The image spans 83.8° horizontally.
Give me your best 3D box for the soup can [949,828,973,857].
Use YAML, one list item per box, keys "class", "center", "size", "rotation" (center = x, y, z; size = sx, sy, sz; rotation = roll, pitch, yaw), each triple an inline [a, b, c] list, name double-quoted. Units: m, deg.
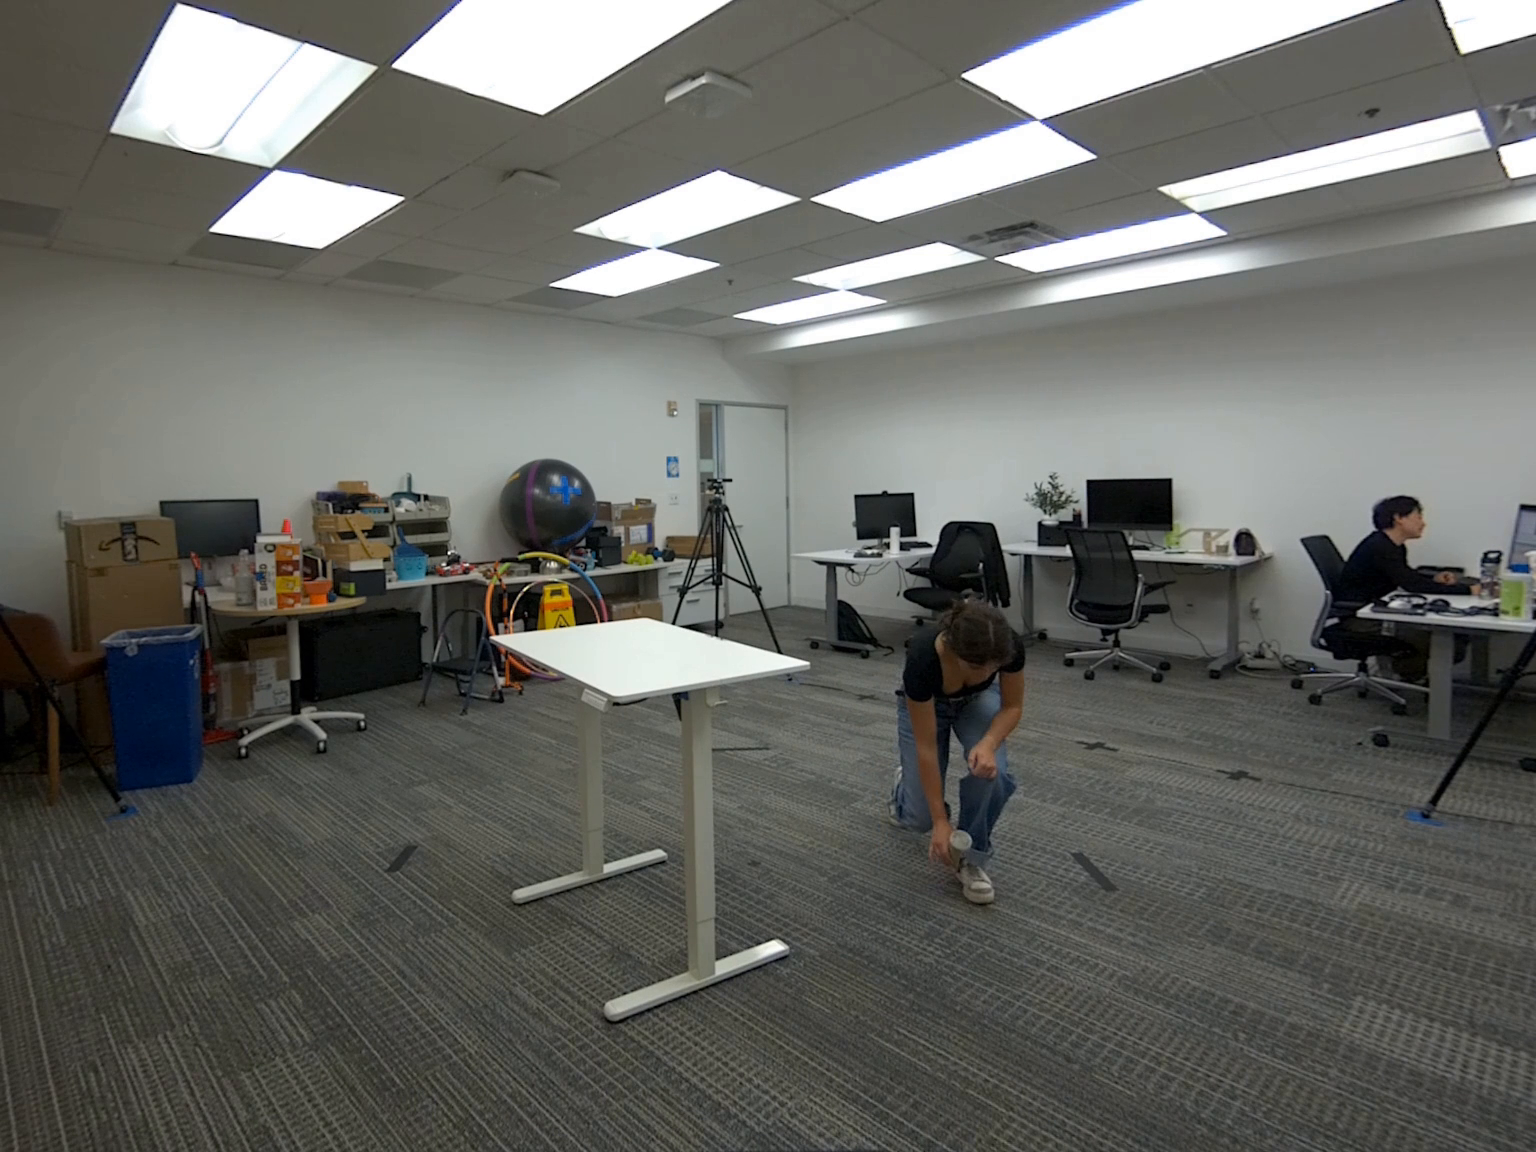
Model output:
- class: "soup can"
  center: [0.598, 0.872, 2.724]
  size: [0.067, 0.118, 0.069]
  rotation: [-2, 38, 0]
